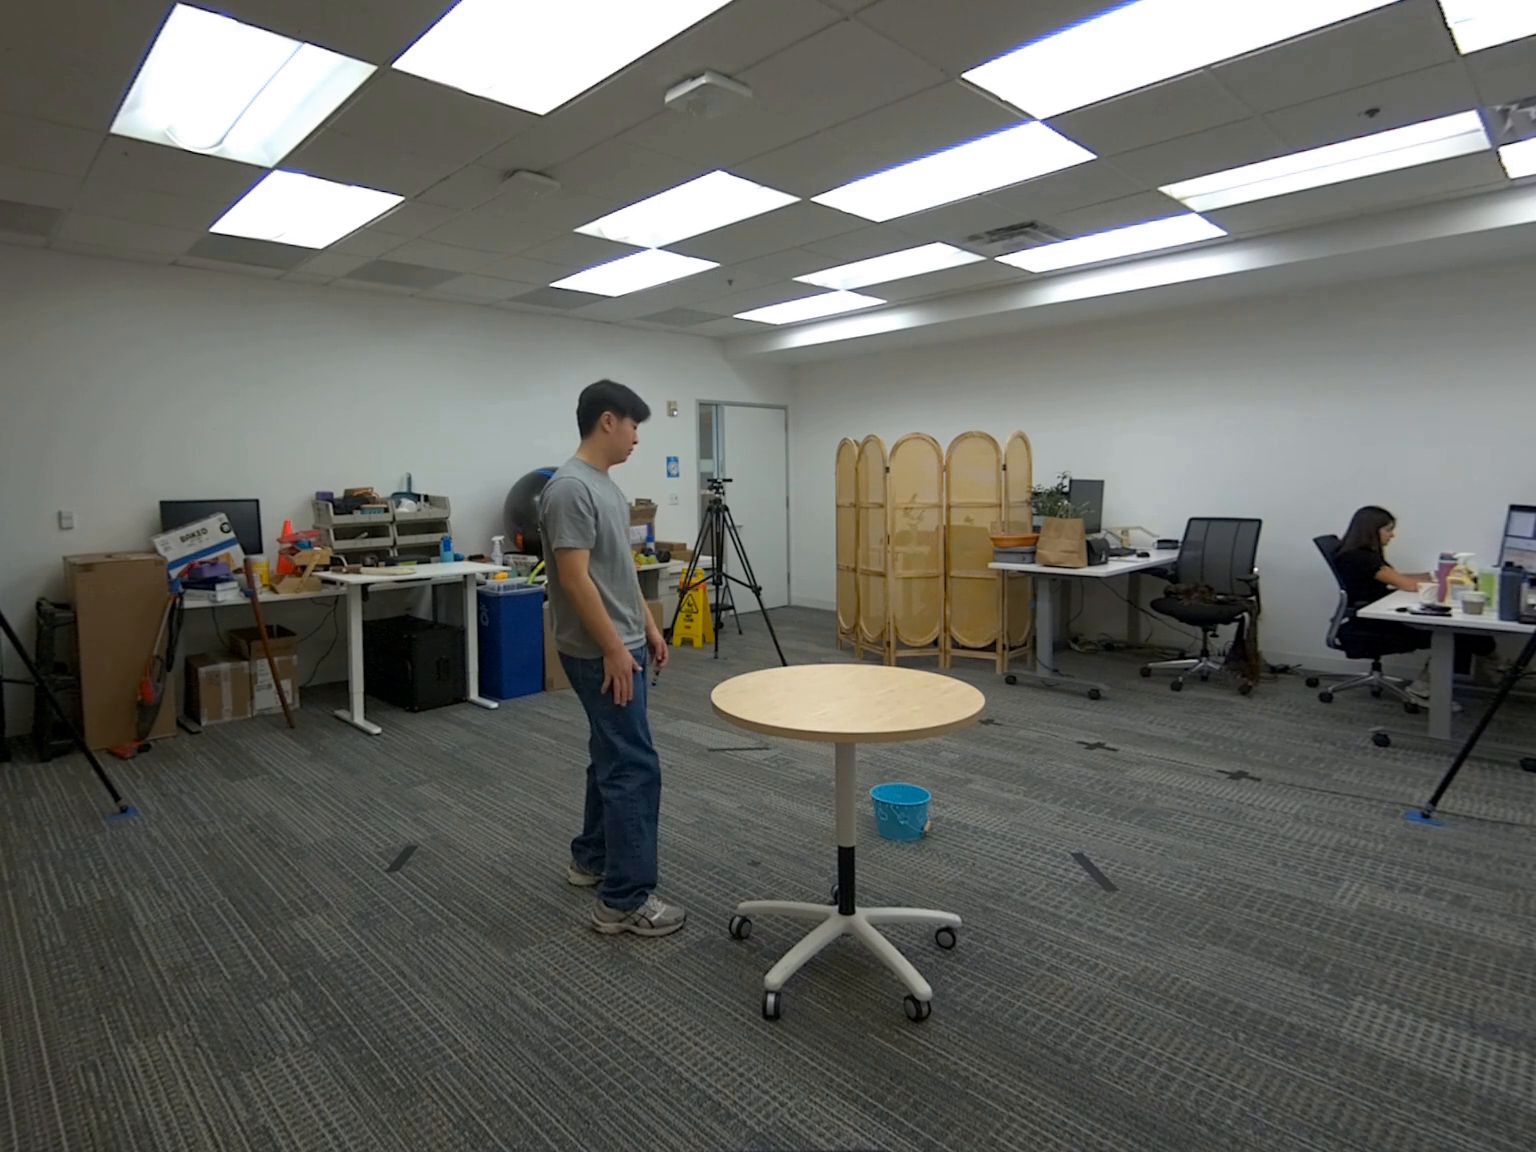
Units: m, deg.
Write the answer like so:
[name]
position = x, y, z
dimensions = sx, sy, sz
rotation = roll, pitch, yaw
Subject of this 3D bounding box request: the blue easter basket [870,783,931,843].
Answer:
[blue easter basket]
position = 0.529, 0.931, 3.356
dimensions = 0.243, 0.155, 0.244
rotation = -2, 4, -2
